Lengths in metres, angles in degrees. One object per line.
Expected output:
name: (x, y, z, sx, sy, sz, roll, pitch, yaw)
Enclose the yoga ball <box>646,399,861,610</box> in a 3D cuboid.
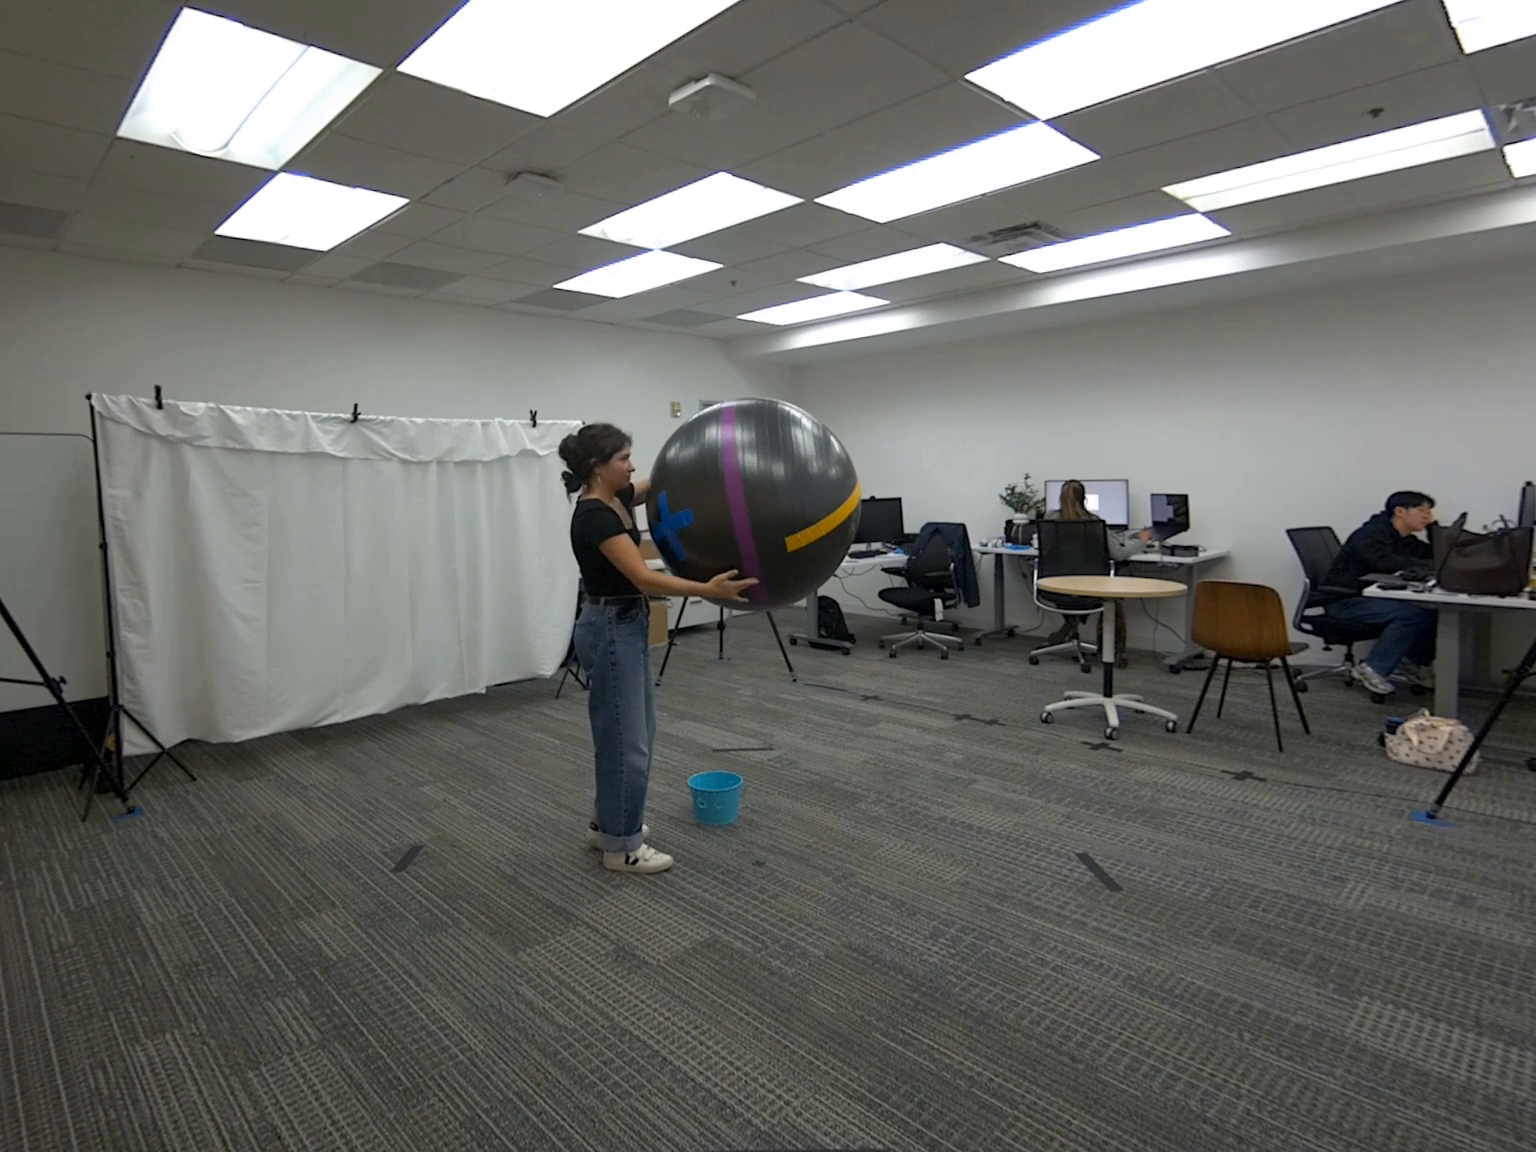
yoga ball: (-0.054, -0.247, 3.043, 0.757, 0.755, 0.762, -1, 5, -2)
